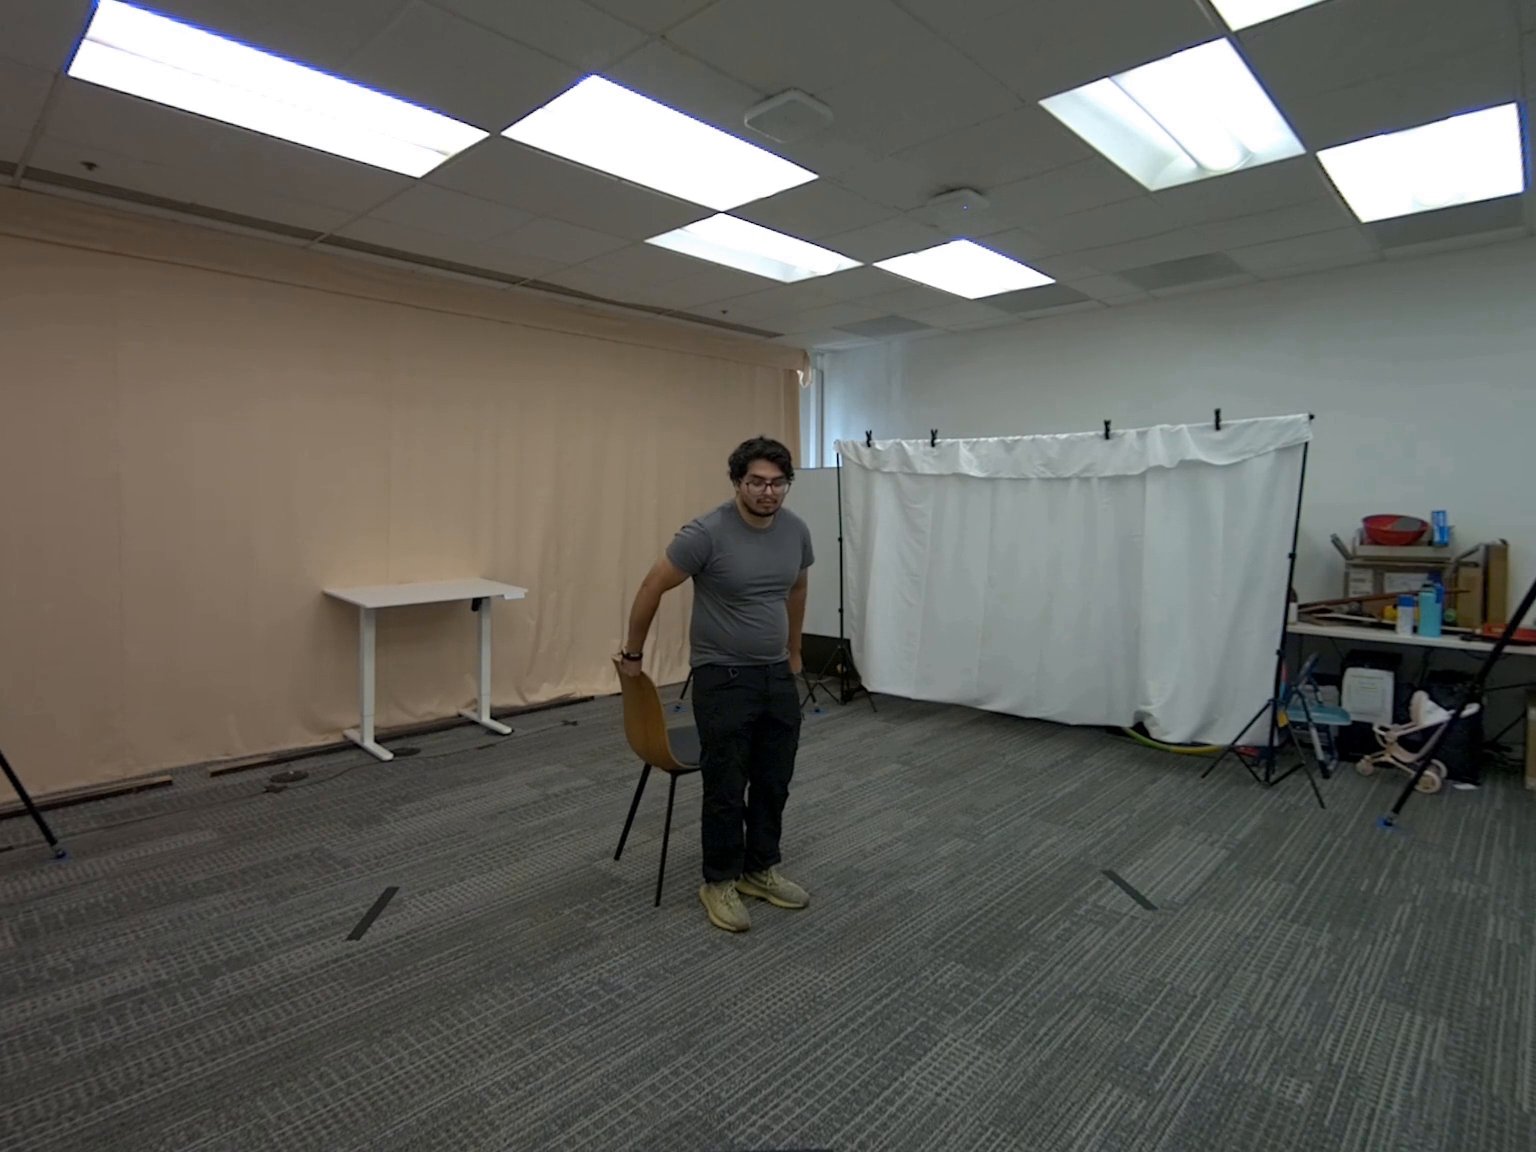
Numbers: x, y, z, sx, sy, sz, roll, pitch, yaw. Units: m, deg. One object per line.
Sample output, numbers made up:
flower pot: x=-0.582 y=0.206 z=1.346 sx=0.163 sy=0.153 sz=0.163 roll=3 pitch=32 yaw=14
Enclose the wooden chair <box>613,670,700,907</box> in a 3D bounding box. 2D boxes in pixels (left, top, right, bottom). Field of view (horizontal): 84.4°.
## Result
wooden chair: x=-0.300 y=0.700 z=3.198 sx=0.511 sy=0.874 sz=0.491 roll=-7 pitch=6 yaw=-28
